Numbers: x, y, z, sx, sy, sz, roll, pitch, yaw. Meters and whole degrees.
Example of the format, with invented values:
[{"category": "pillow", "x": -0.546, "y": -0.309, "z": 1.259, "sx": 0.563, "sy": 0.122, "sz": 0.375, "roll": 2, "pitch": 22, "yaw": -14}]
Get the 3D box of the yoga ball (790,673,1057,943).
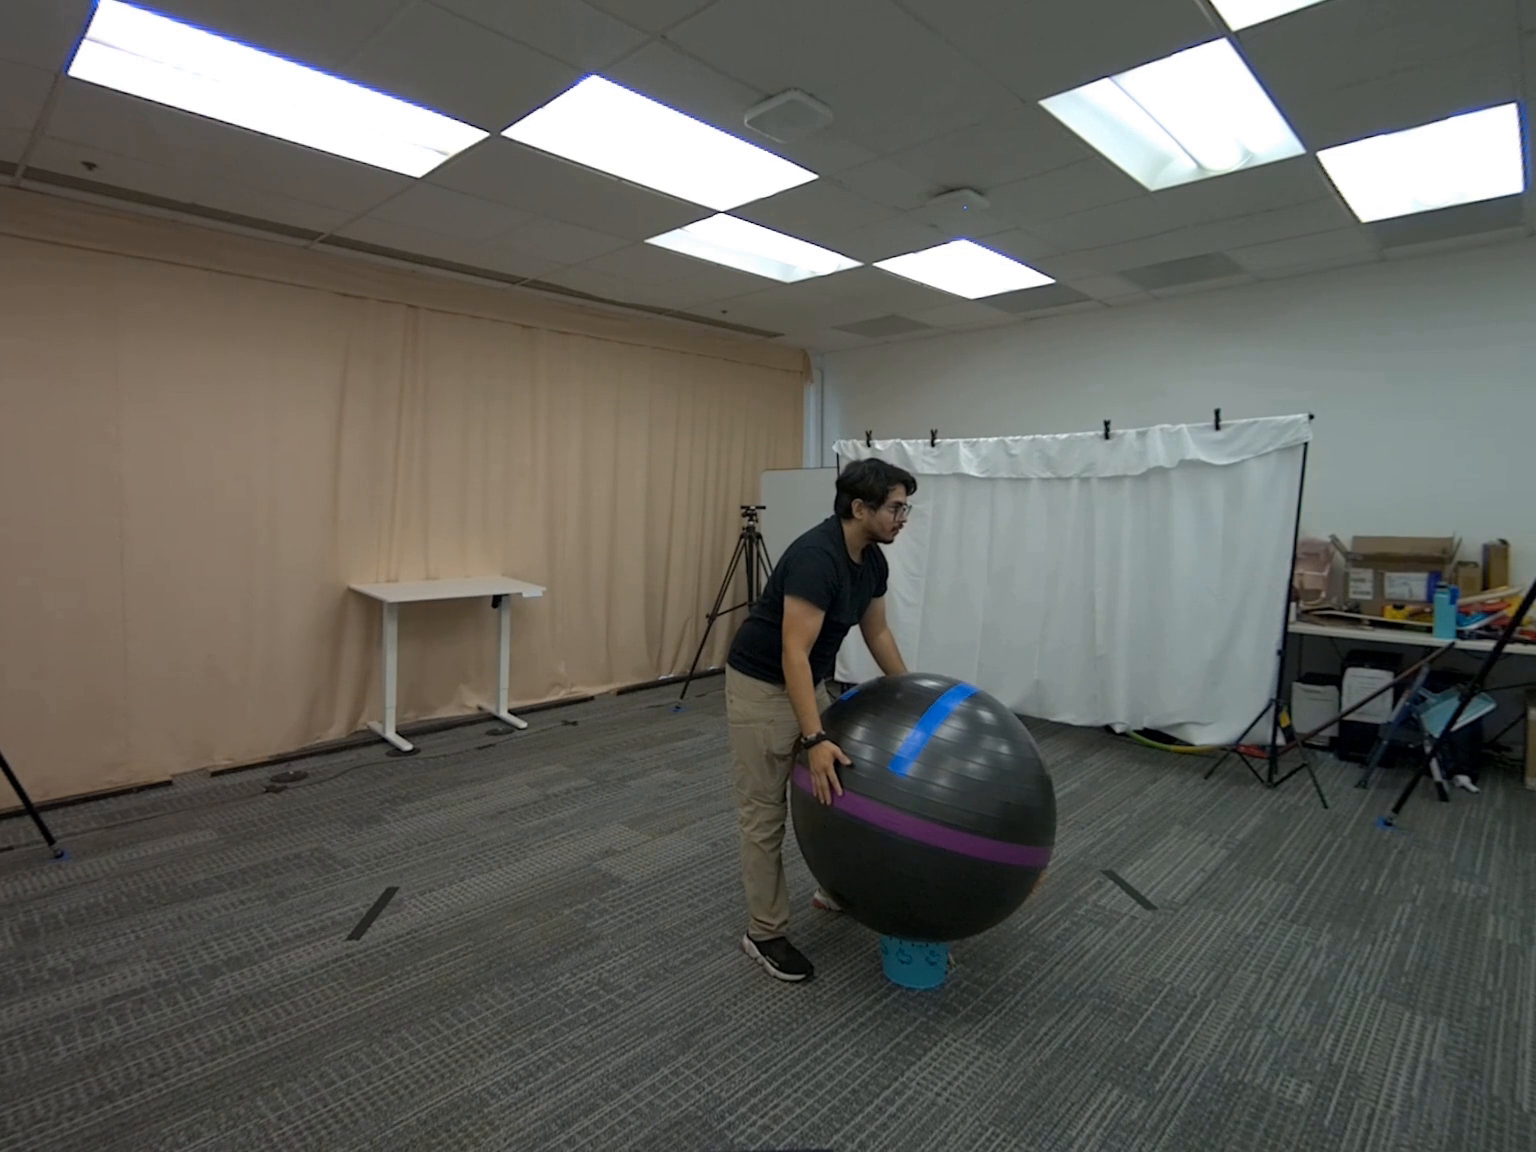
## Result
[{"category": "yoga ball", "x": 0.463, "y": 0.681, "z": 2.489, "sx": 0.757, "sy": 0.756, "sz": 0.761, "roll": 0, "pitch": 4, "yaw": -2}]
